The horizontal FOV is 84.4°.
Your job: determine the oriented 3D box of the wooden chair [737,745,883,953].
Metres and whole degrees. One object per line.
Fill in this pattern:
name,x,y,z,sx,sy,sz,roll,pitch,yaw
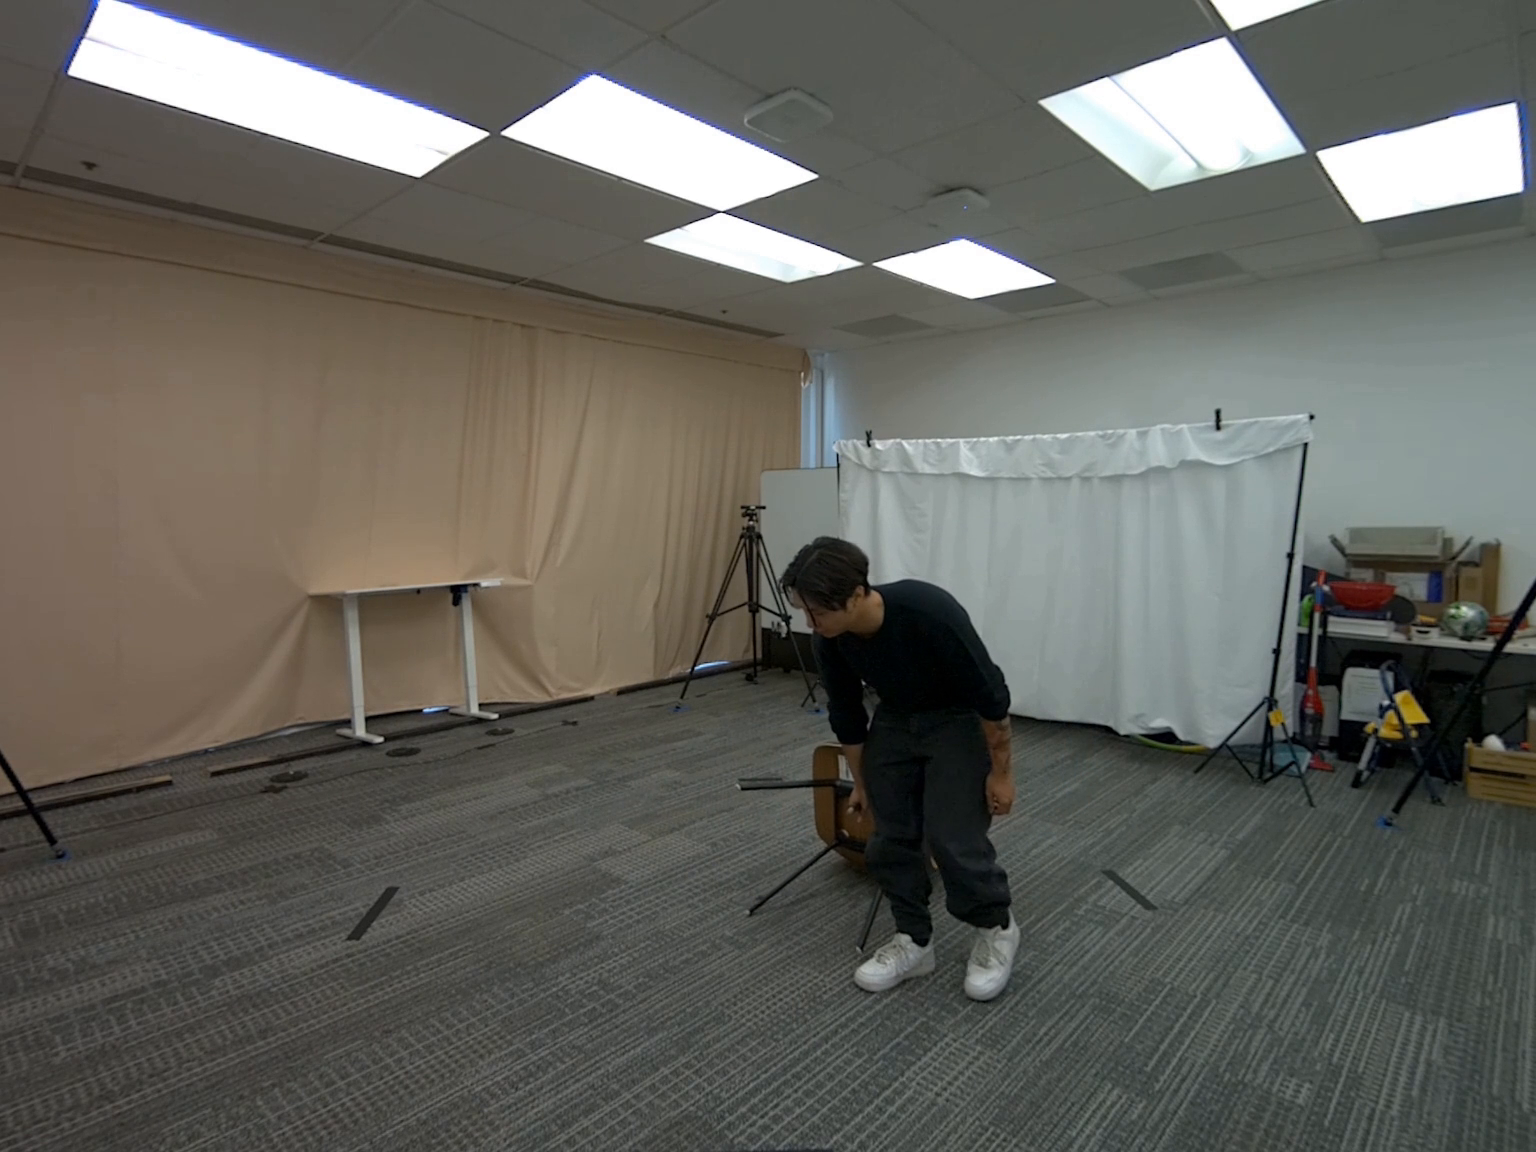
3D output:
wooden chair,0.348,0.875,3.027,0.493,0.523,0.850,-1,1,39
